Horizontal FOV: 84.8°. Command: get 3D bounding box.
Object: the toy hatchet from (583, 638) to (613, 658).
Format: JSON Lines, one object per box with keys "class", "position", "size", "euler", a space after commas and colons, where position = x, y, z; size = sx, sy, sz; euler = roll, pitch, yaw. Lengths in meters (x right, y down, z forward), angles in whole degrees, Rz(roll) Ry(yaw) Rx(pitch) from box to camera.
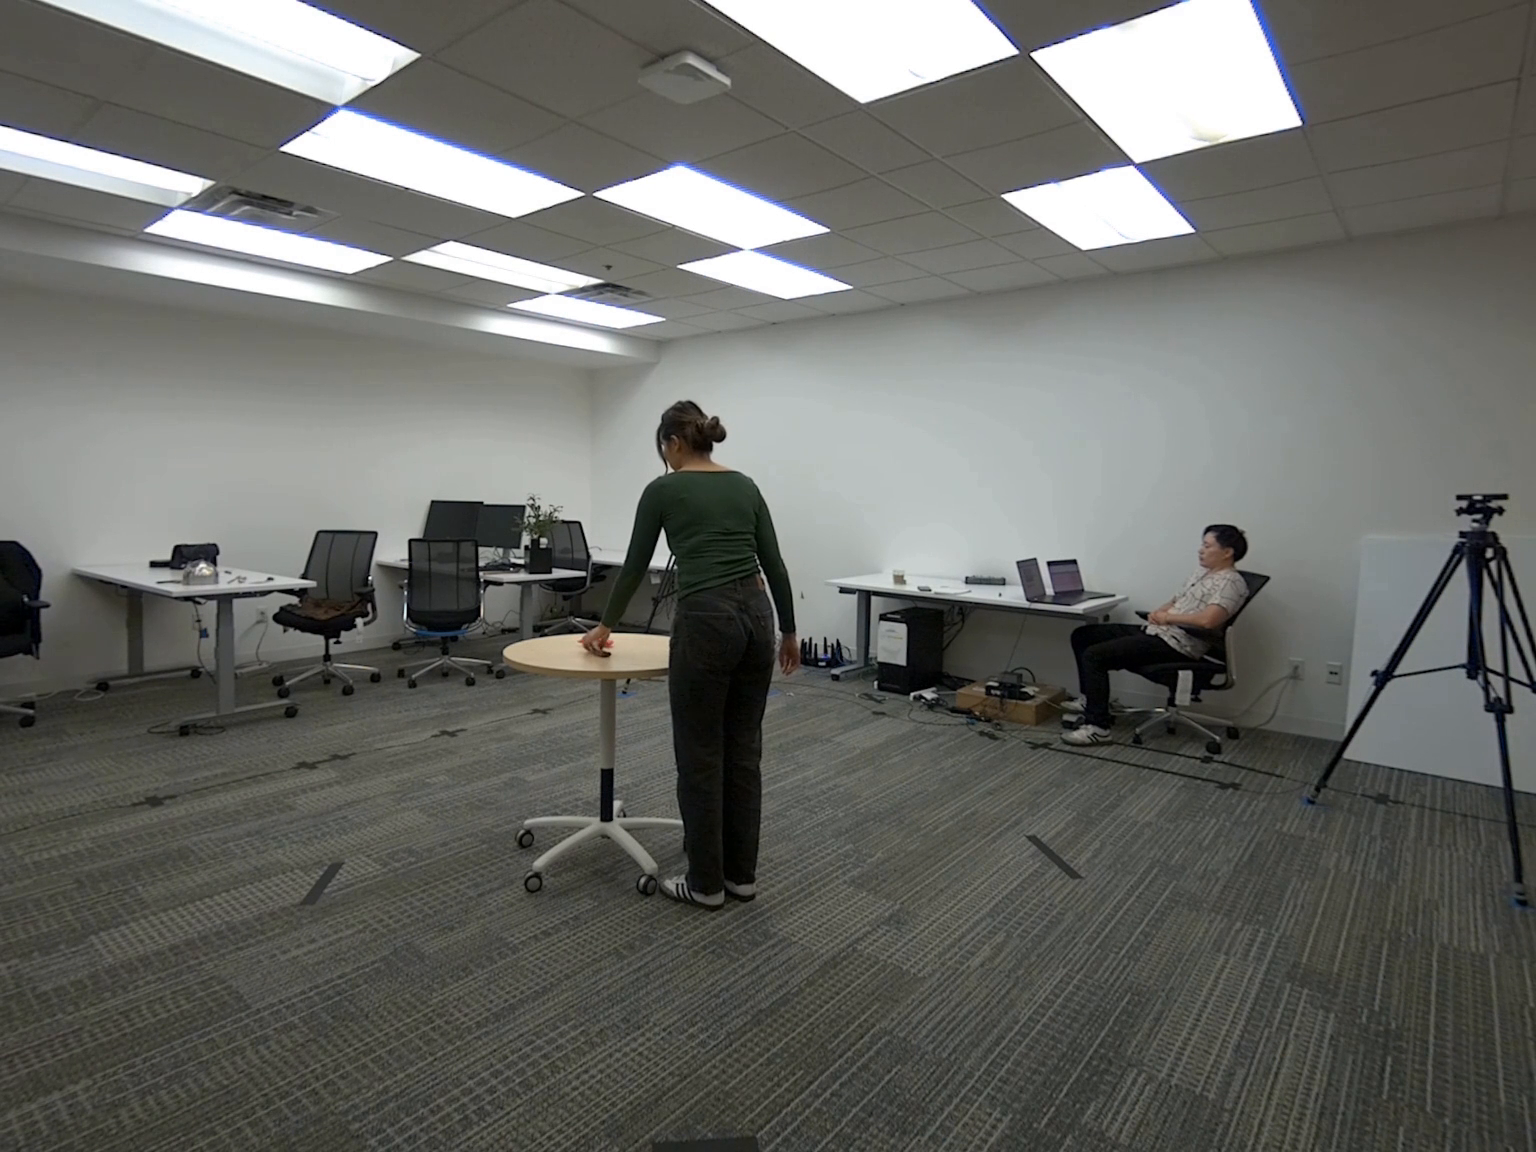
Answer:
{"class": "toy hatchet", "position": [-0.613, 0.260, 3.139], "size": [0.128, 0.029, 0.278], "euler": [0, 7, -28]}
